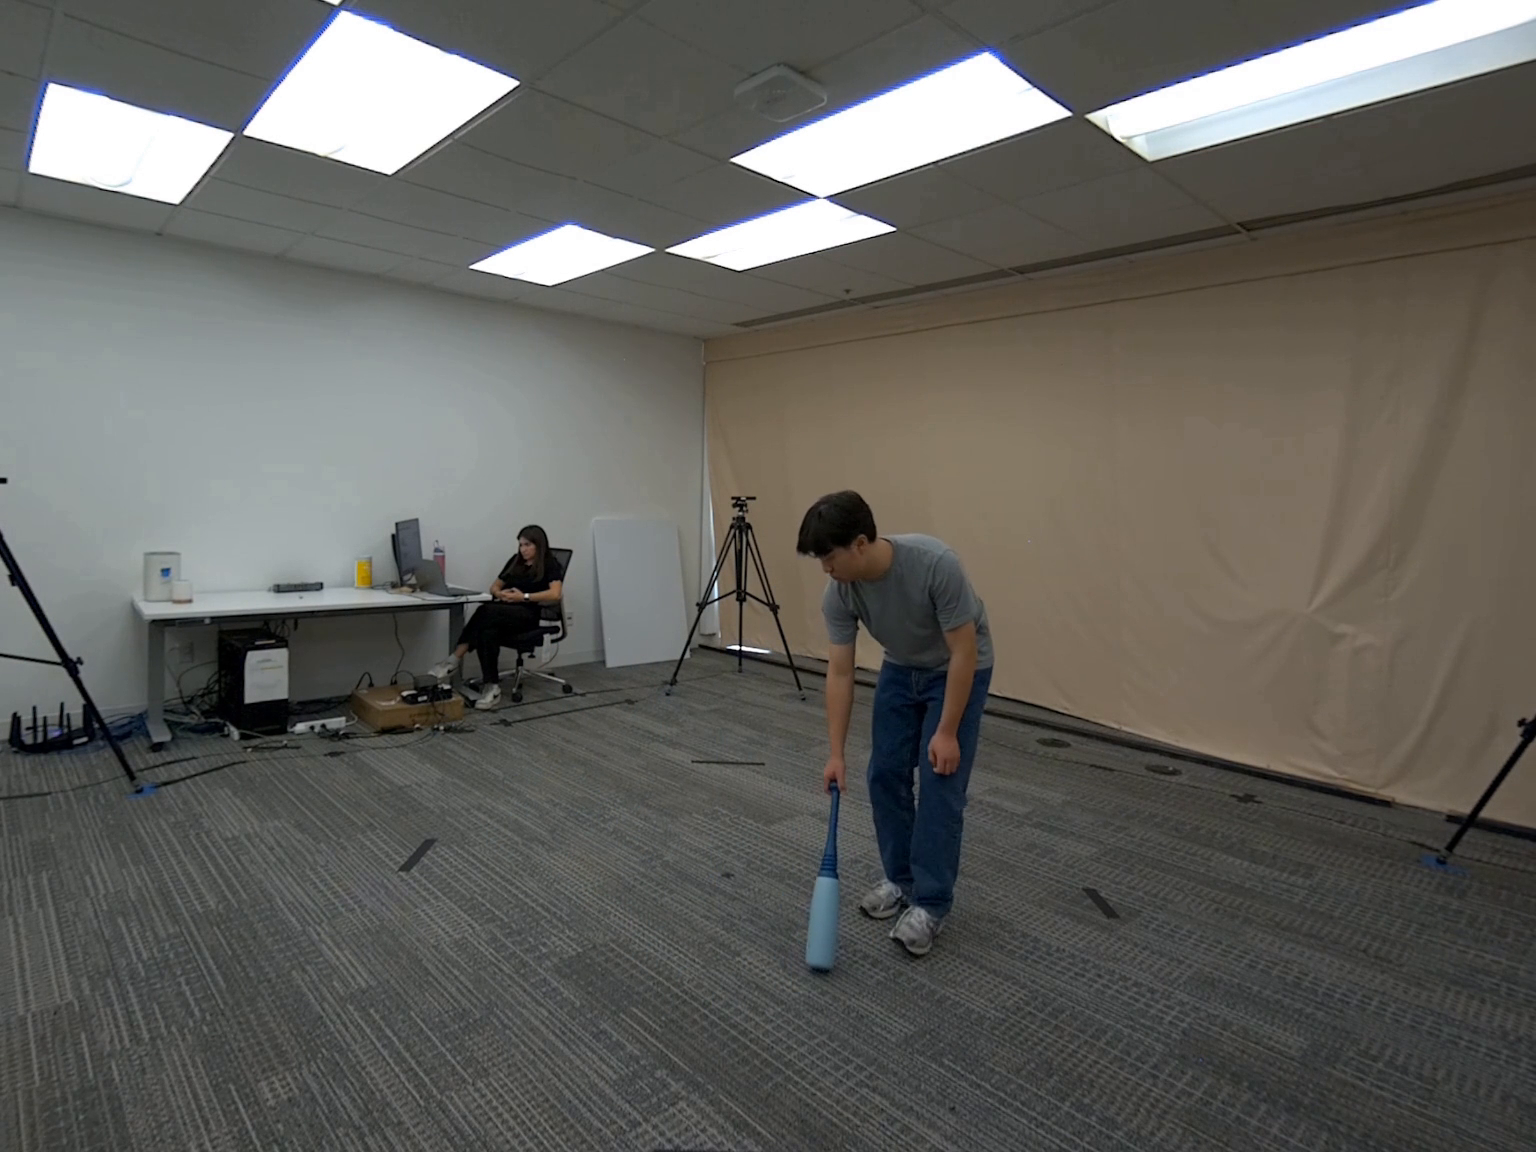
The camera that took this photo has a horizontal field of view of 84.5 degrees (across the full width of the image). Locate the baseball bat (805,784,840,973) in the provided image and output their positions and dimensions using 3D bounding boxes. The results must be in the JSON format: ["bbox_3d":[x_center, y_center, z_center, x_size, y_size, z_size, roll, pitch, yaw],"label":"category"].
[{"bbox_3d":[0.186,0.920,2.584,0.089,0.550,0.087,9,-26,3],"label":"baseball bat"}]
